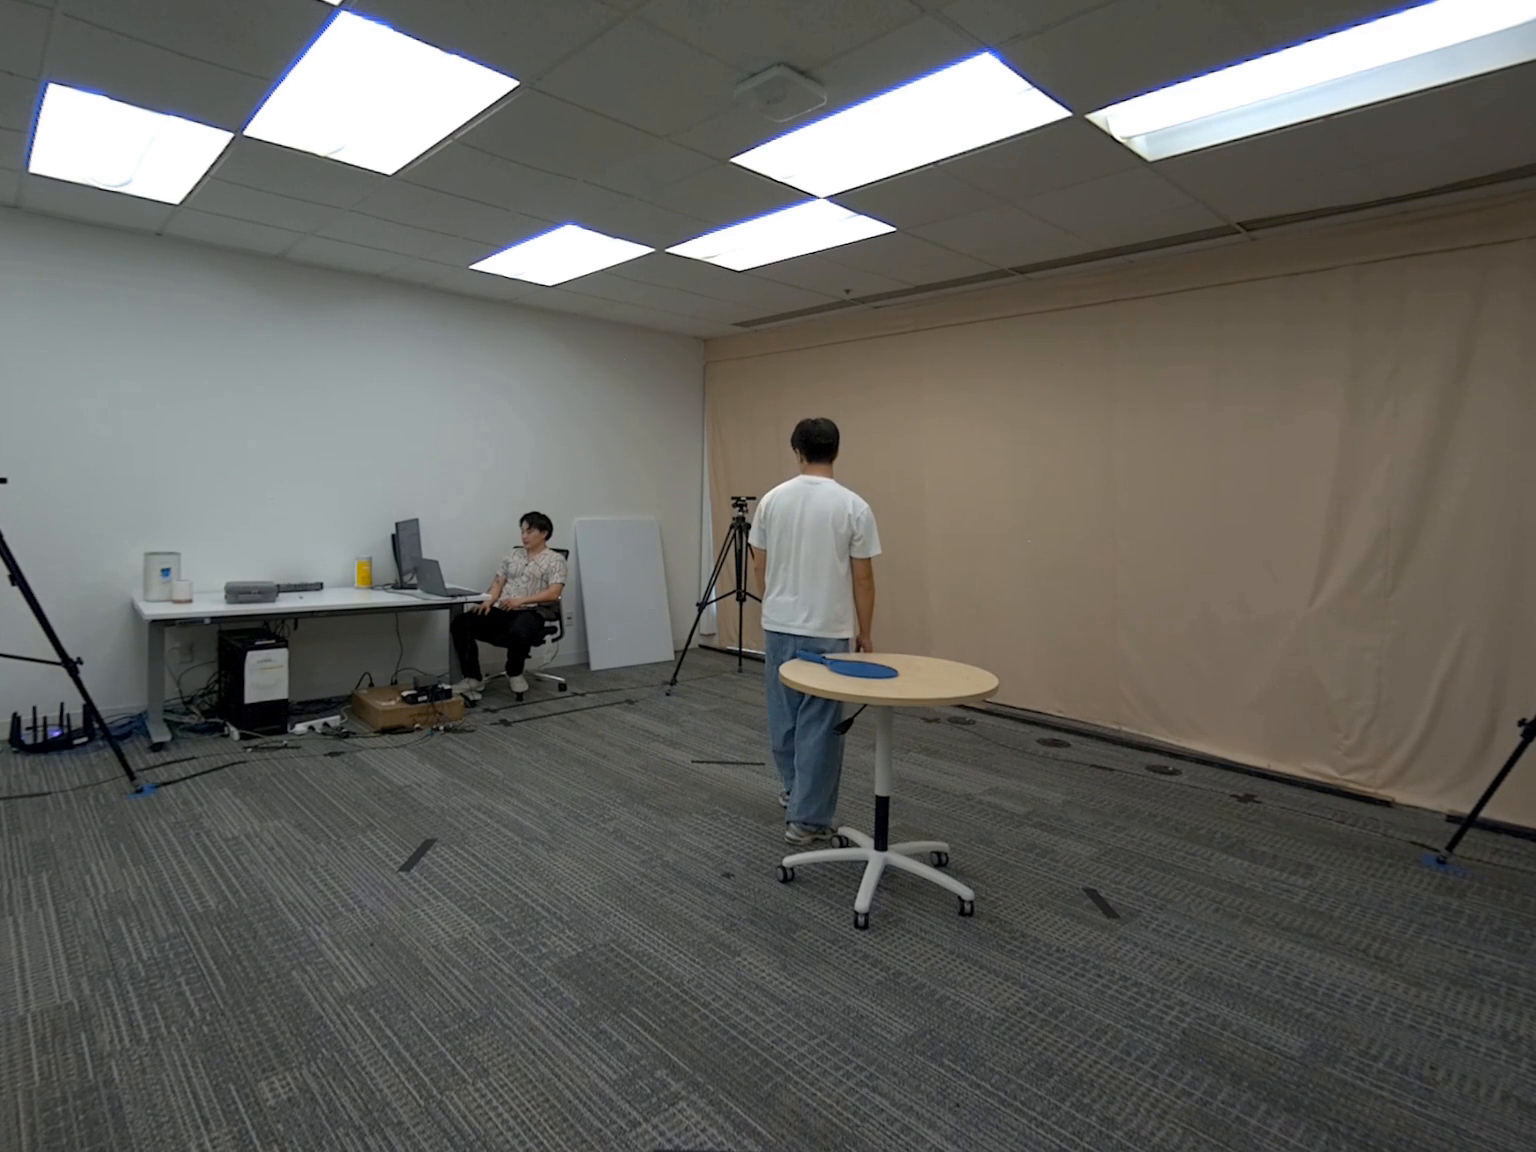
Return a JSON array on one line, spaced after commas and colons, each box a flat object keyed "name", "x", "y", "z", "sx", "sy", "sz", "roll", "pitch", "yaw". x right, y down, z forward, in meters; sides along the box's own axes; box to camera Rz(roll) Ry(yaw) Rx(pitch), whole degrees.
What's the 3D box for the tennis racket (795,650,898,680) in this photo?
[{"name": "tennis racket", "x": 0.266, "y": 0.325, "z": 3.077, "sx": 0.209, "sy": 0.031, "sz": 0.444, "roll": -4, "pitch": 9, "yaw": -44}]
